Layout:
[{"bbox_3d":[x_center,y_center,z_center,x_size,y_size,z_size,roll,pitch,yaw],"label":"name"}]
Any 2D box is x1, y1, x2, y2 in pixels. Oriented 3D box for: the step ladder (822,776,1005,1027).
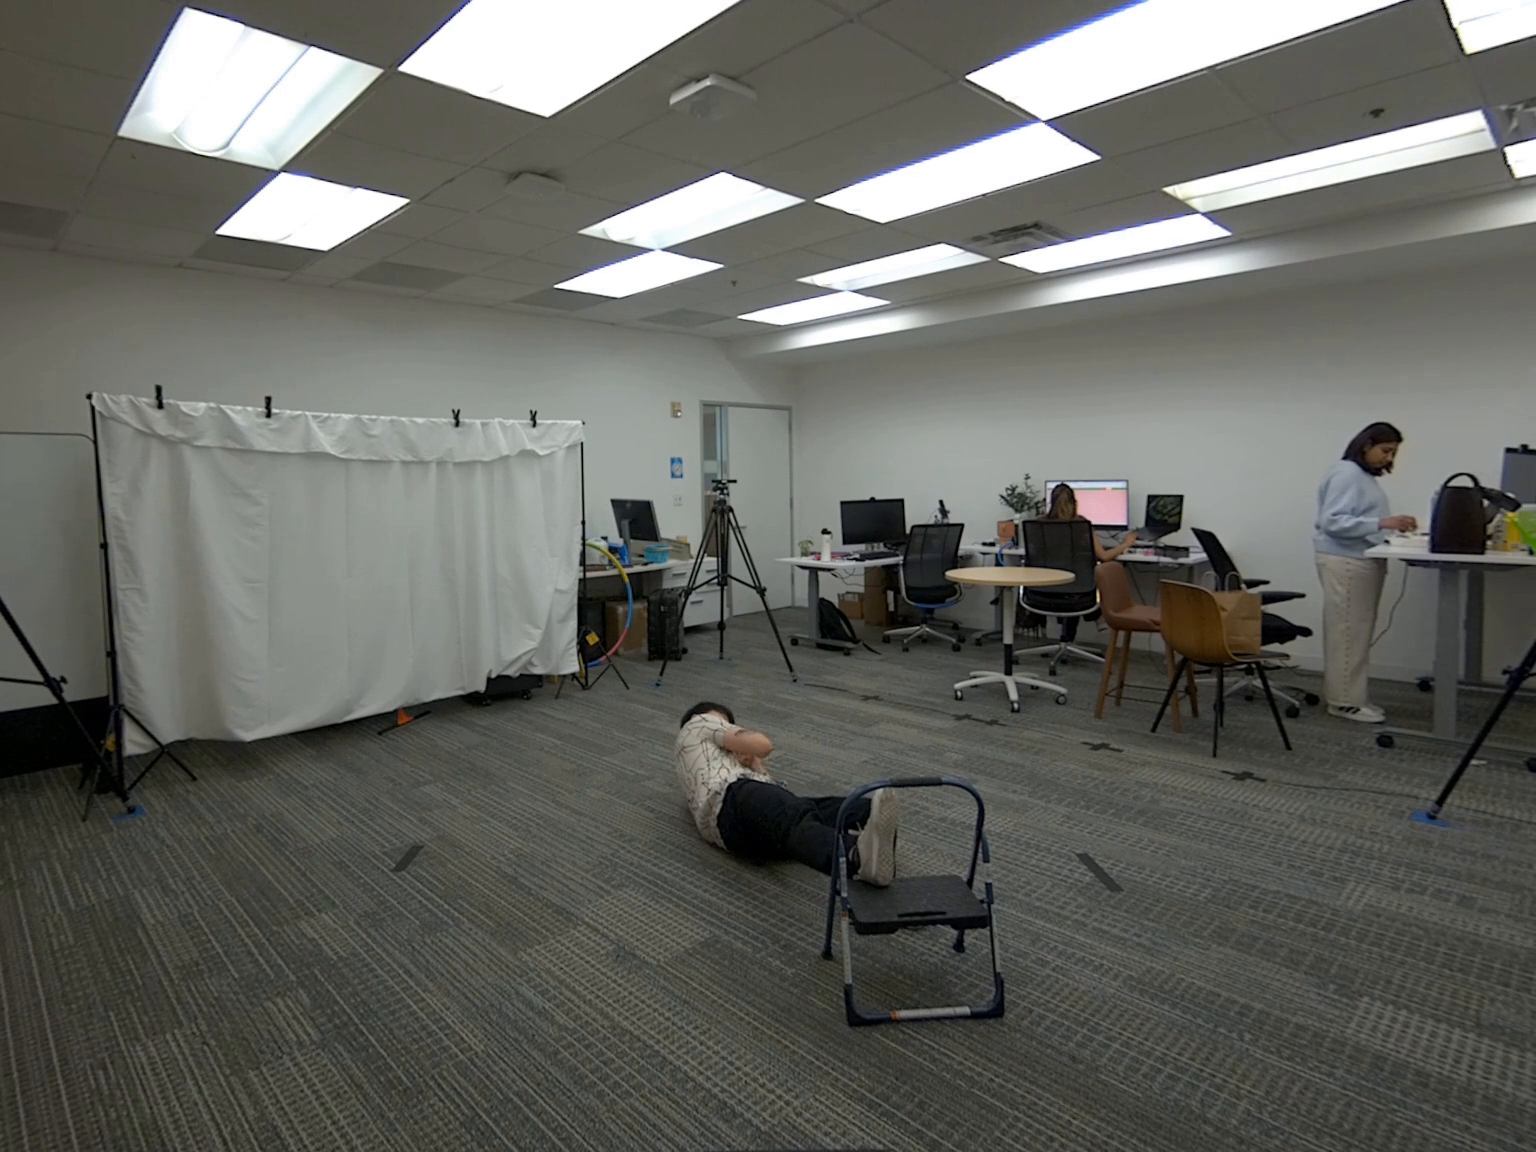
[{"bbox_3d":[0.391,0.827,2.338,0.428,0.604,0.352,-1,4,-6],"label":"step ladder"}]
